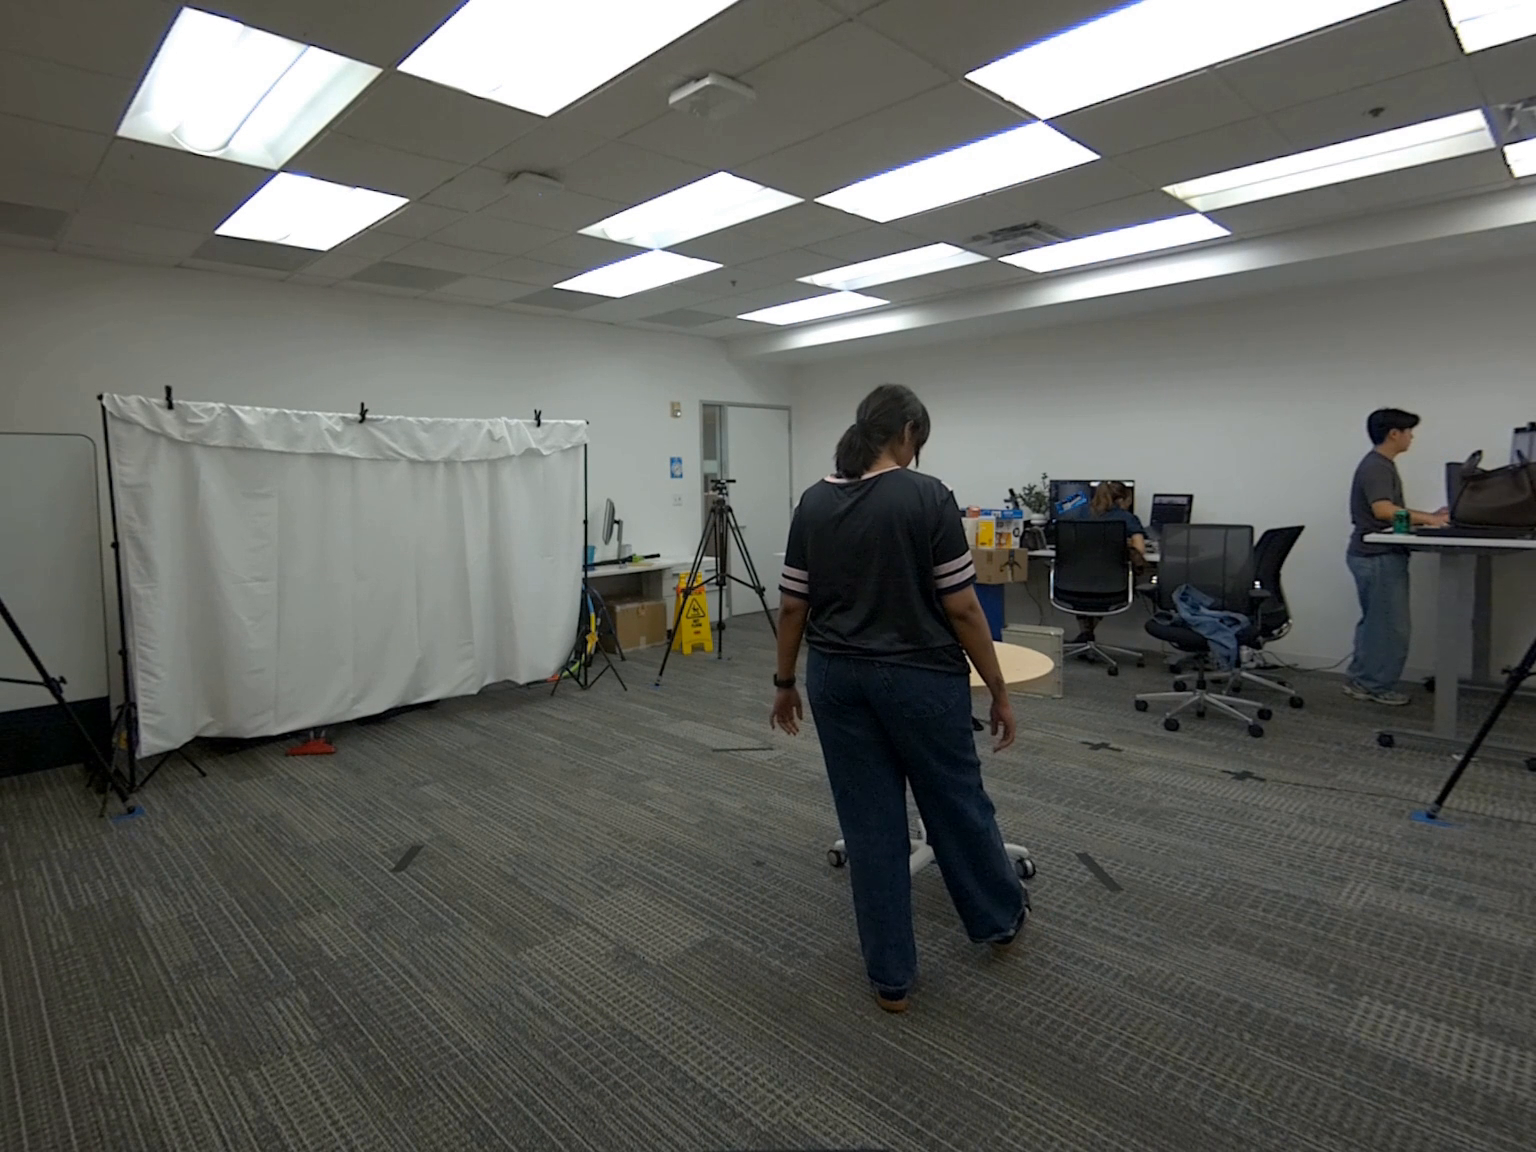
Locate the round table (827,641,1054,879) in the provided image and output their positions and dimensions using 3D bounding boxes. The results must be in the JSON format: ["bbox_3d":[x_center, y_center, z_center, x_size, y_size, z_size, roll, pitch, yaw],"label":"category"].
[{"bbox_3d":[0.569,0.671,2.914,0.763,0.791,0.768,-2,5,-2],"label":"round table"}]
